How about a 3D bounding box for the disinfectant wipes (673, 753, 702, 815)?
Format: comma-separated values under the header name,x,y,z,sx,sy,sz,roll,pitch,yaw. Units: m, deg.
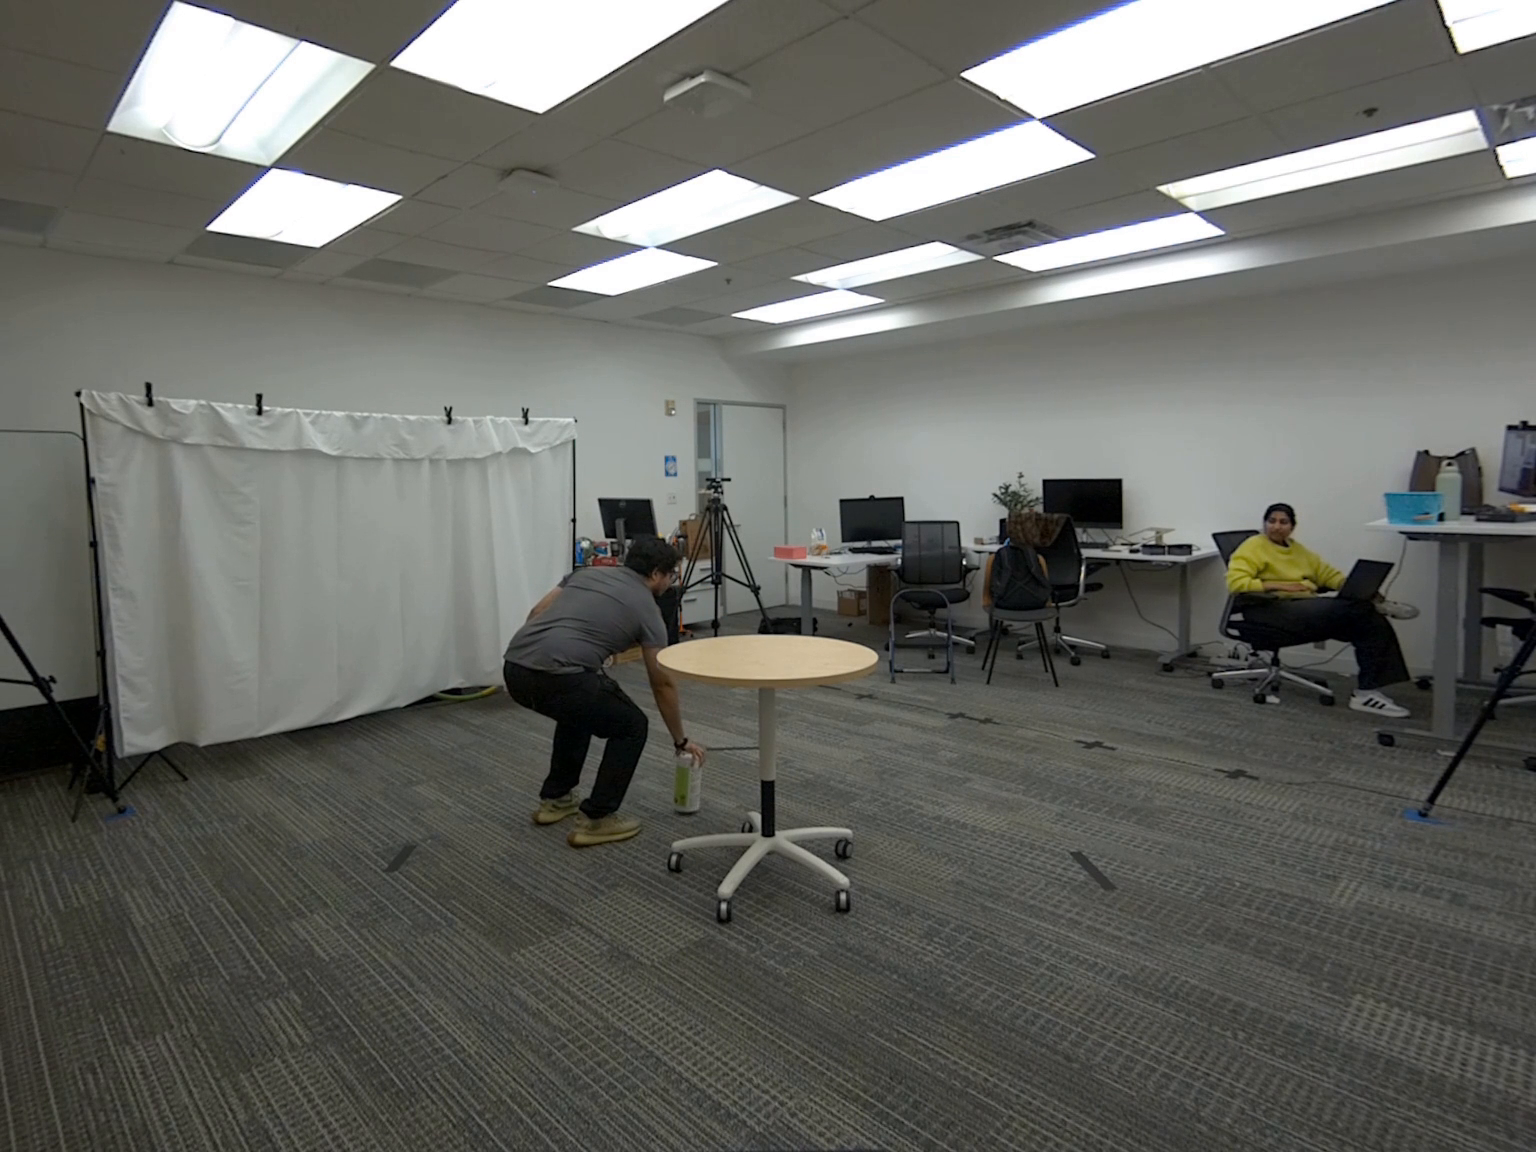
name,x,y,z,sx,sy,sz,roll,pitch,yaw
disinfectant wipes,-0.340,0.869,3.595,0.117,0.217,0.118,4,3,-2
